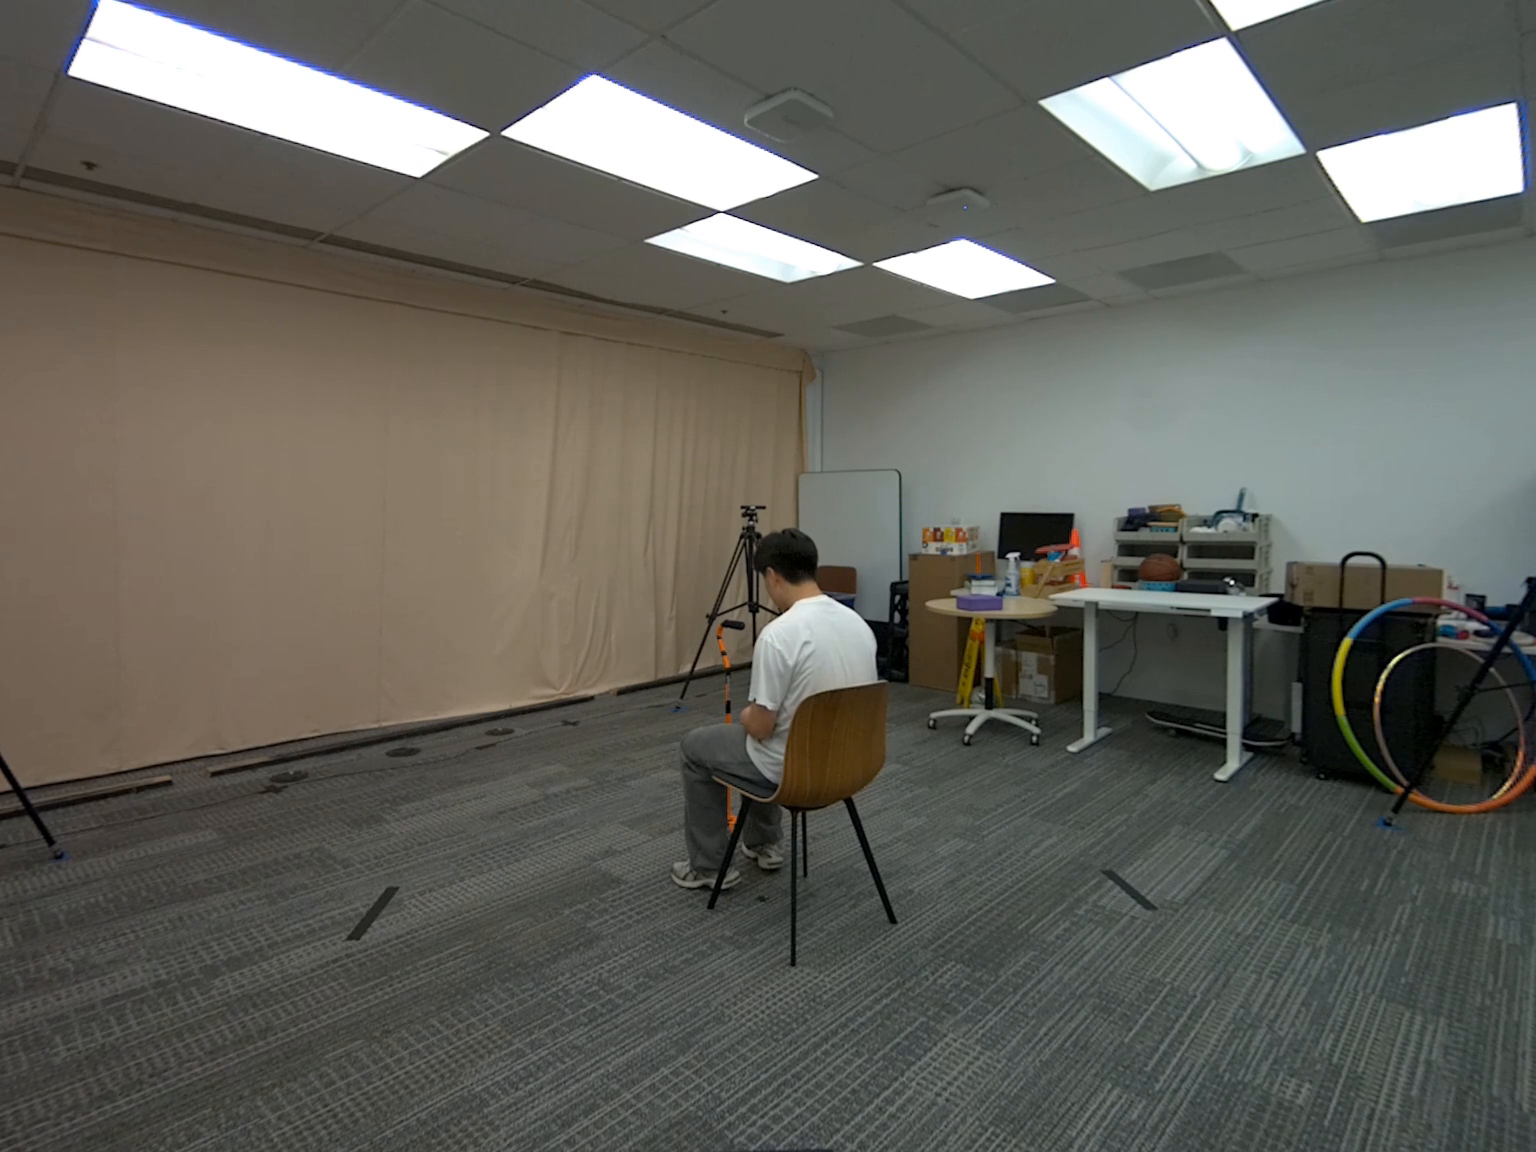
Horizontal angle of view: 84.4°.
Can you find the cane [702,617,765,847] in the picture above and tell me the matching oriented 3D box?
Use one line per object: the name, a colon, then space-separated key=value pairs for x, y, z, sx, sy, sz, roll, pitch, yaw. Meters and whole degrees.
cane: x=-0.148 y=0.639 z=3.571 sx=0.147 sy=0.907 sz=0.213 roll=-2 pitch=2 yaw=-41
